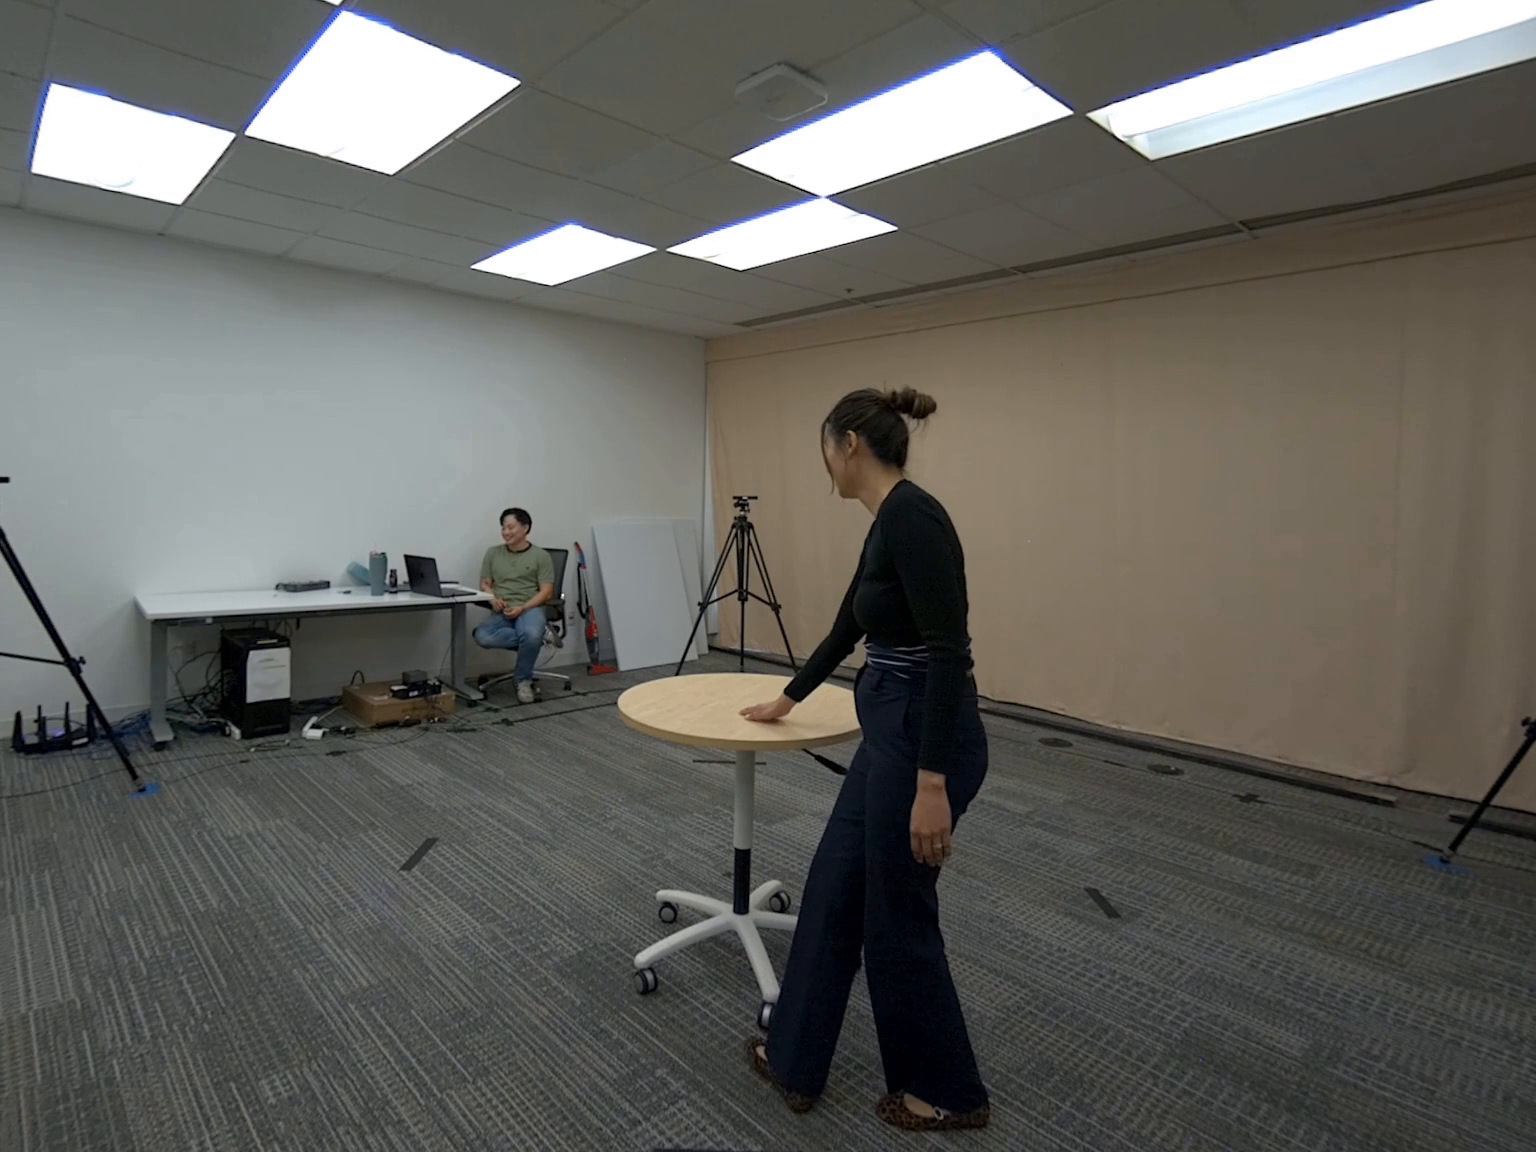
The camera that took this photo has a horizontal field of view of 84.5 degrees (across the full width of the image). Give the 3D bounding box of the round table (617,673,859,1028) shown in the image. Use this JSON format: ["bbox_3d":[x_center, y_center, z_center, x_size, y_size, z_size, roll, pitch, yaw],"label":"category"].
[{"bbox_3d":[-0.082,0.770,2.529,0.763,0.791,0.767,1,5,-1],"label":"round table"}]
